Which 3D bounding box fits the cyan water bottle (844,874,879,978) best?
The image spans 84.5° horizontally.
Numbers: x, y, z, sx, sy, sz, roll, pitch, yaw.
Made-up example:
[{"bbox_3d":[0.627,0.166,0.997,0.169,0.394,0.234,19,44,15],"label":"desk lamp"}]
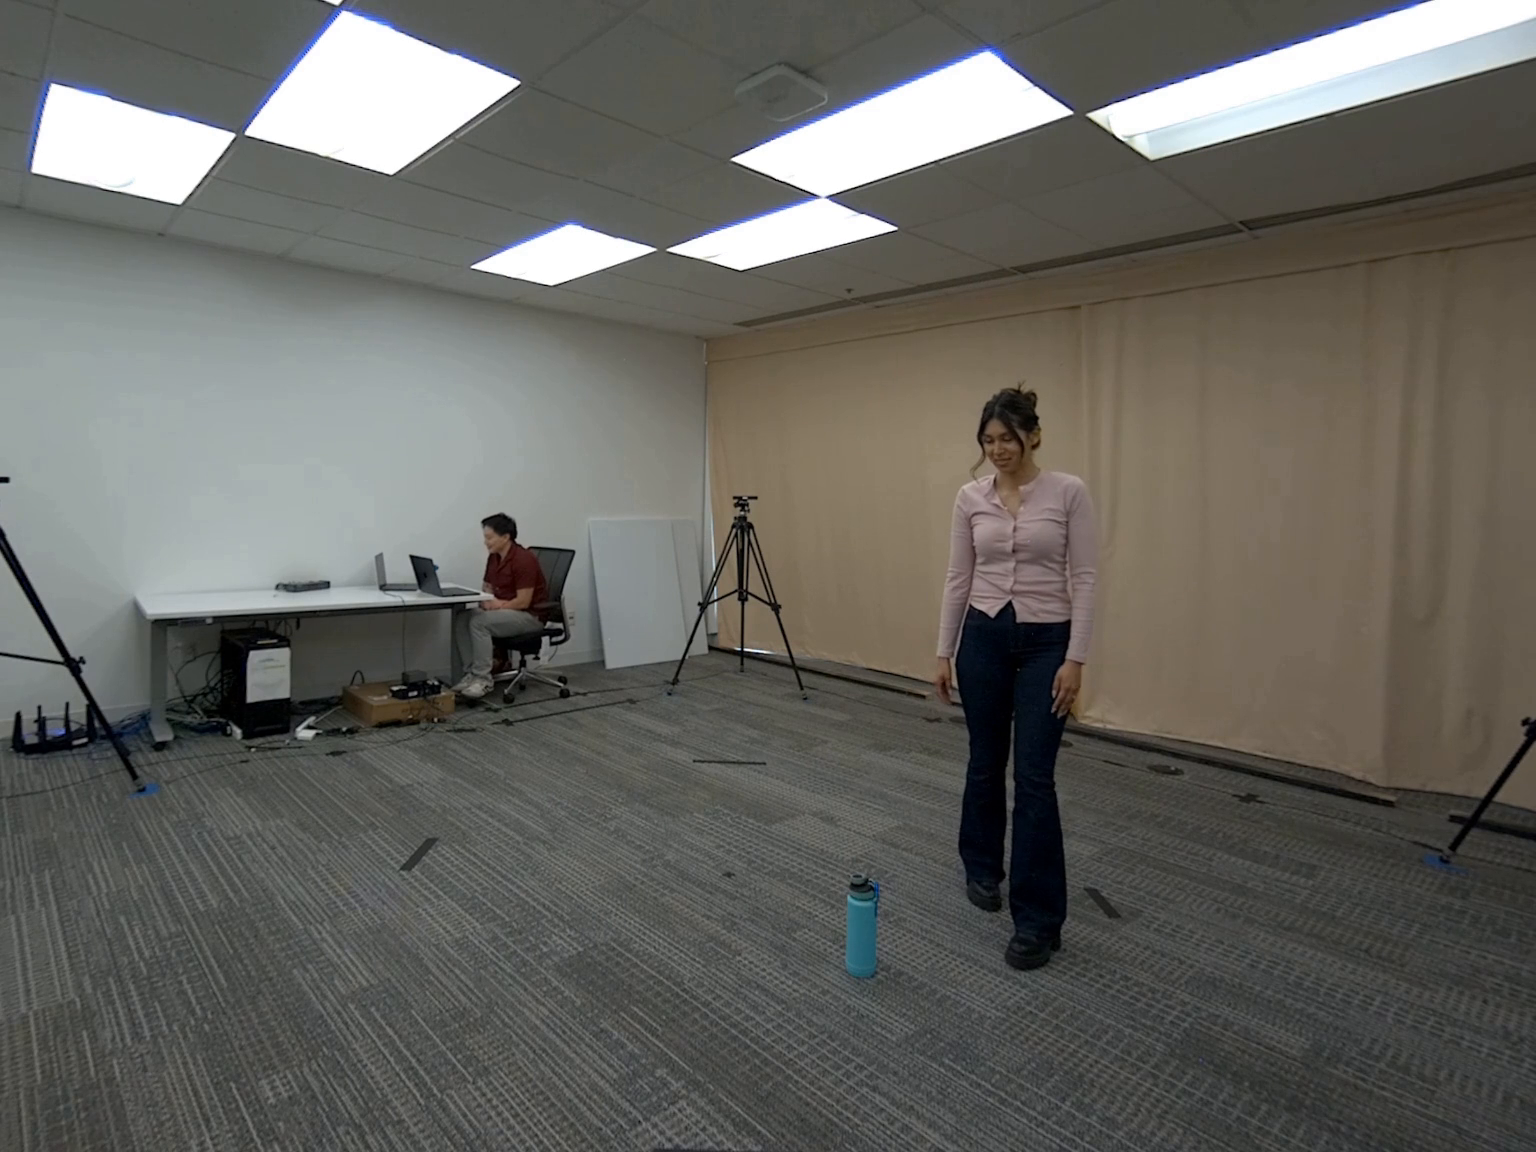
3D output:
[{"bbox_3d":[0.275,1.023,2.491,0.092,0.283,0.092,1,3,-1],"label":"cyan water bottle"}]
